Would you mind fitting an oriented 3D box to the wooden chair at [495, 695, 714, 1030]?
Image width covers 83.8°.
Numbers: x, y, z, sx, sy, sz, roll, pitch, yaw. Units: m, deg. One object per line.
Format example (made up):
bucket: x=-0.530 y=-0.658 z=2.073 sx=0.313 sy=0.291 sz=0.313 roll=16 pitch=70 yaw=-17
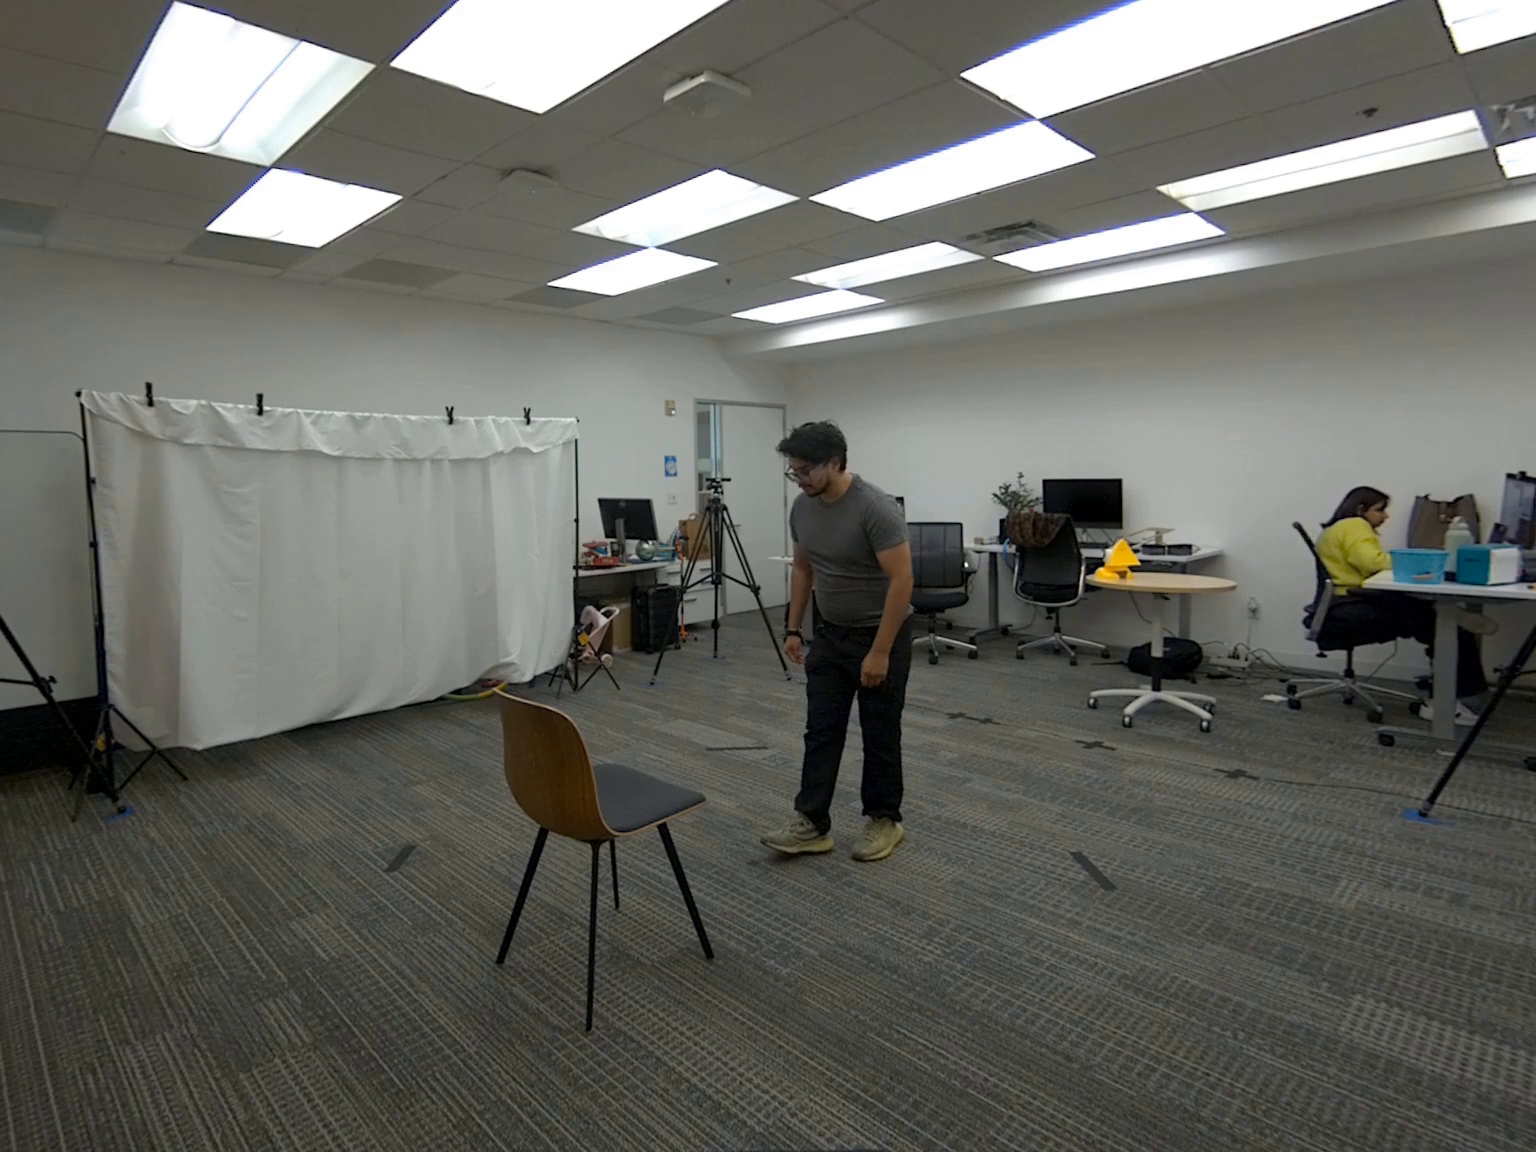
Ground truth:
wooden chair: x=-0.474 y=0.700 z=2.462 sx=0.493 sy=0.871 sz=0.511 roll=3 pitch=11 yaw=43
